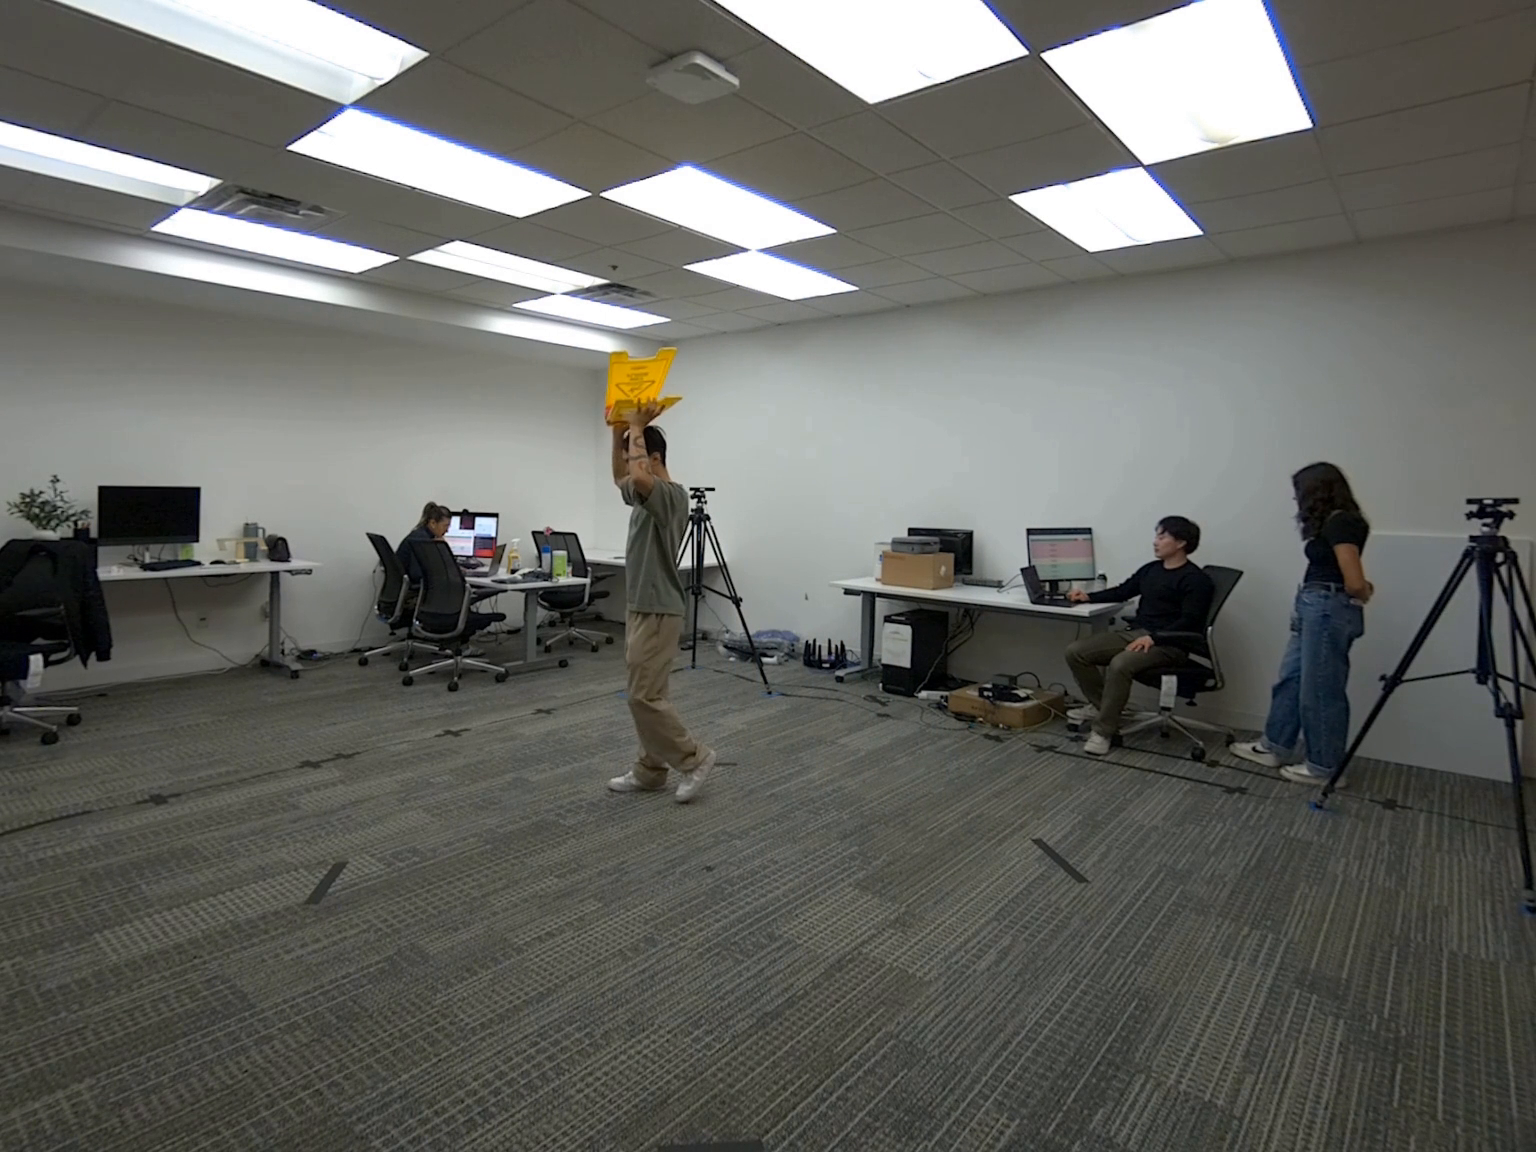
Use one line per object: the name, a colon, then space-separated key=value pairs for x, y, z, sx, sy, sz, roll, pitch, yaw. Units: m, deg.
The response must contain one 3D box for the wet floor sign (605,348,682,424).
wet floor sign: x=-0.597 y=-0.783 z=3.778 sx=0.277 sy=0.291 sz=0.654 roll=-8 pitch=-4 yaw=-21
